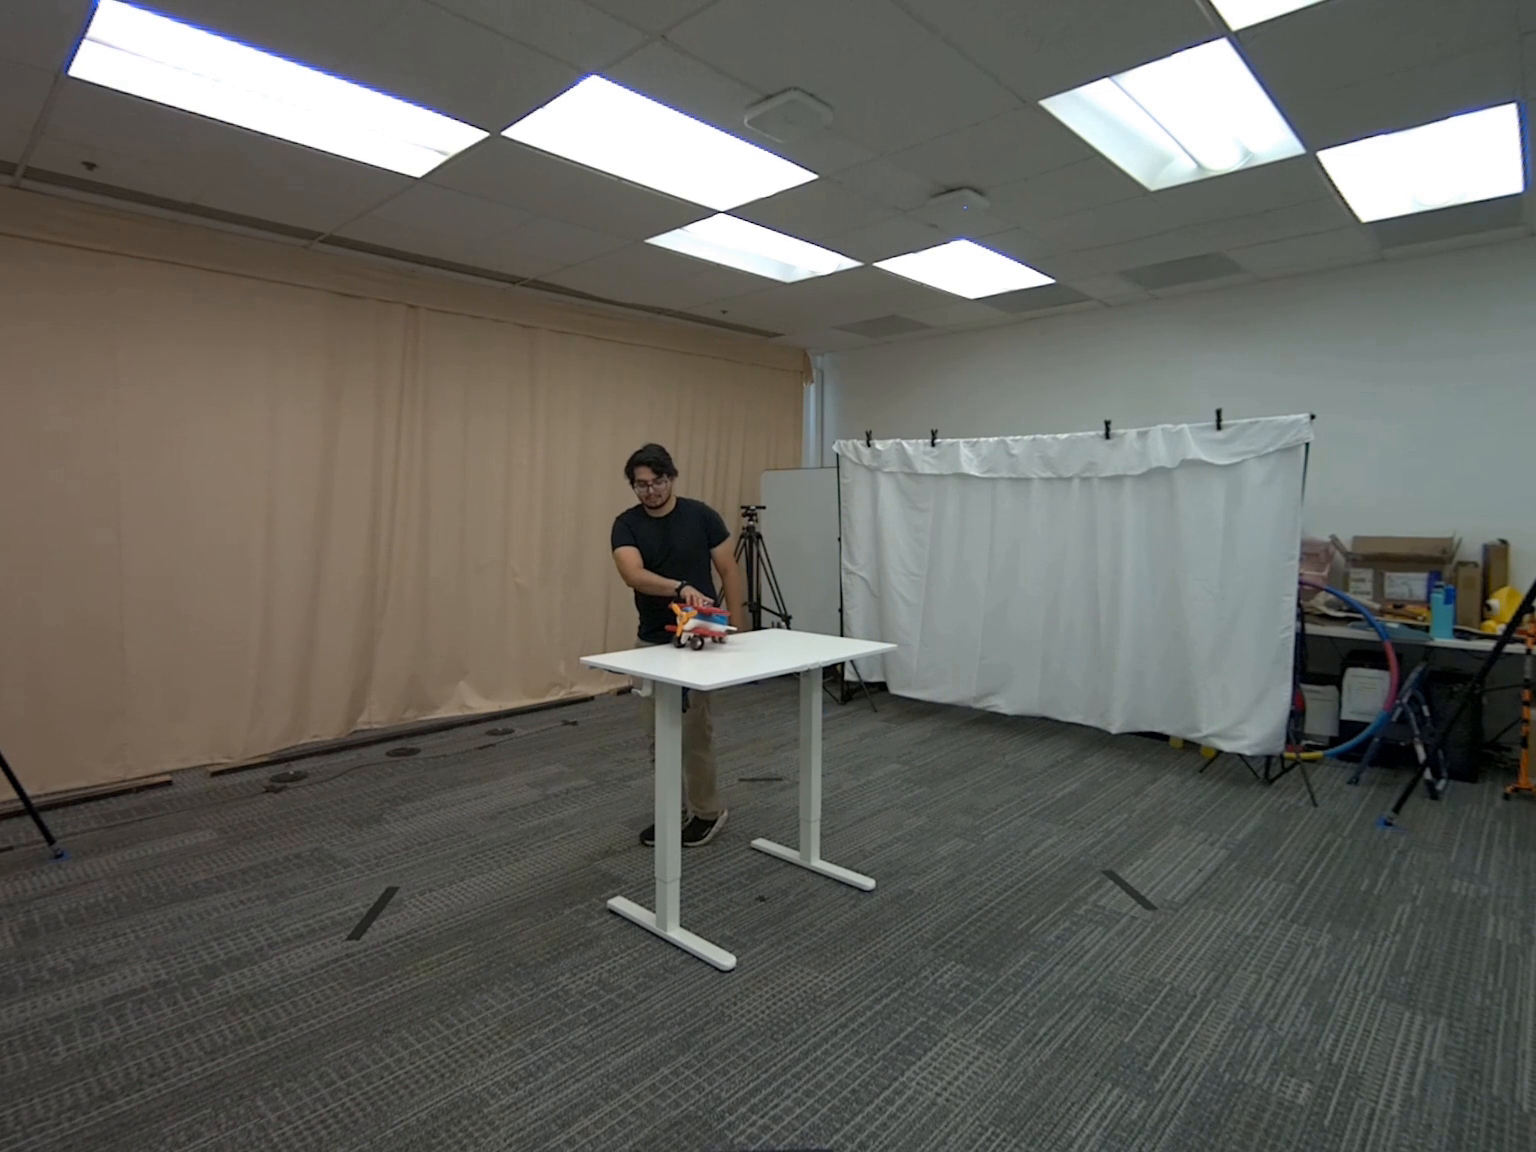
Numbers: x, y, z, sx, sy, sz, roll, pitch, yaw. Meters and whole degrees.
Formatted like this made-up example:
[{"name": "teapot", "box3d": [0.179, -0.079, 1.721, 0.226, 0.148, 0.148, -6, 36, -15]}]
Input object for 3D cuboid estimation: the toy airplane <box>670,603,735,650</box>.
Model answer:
[{"name": "toy airplane", "box3d": [-0.254, 0.176, 3.061, 0.254, 0.156, 0.257, 2, 5, 9]}]
